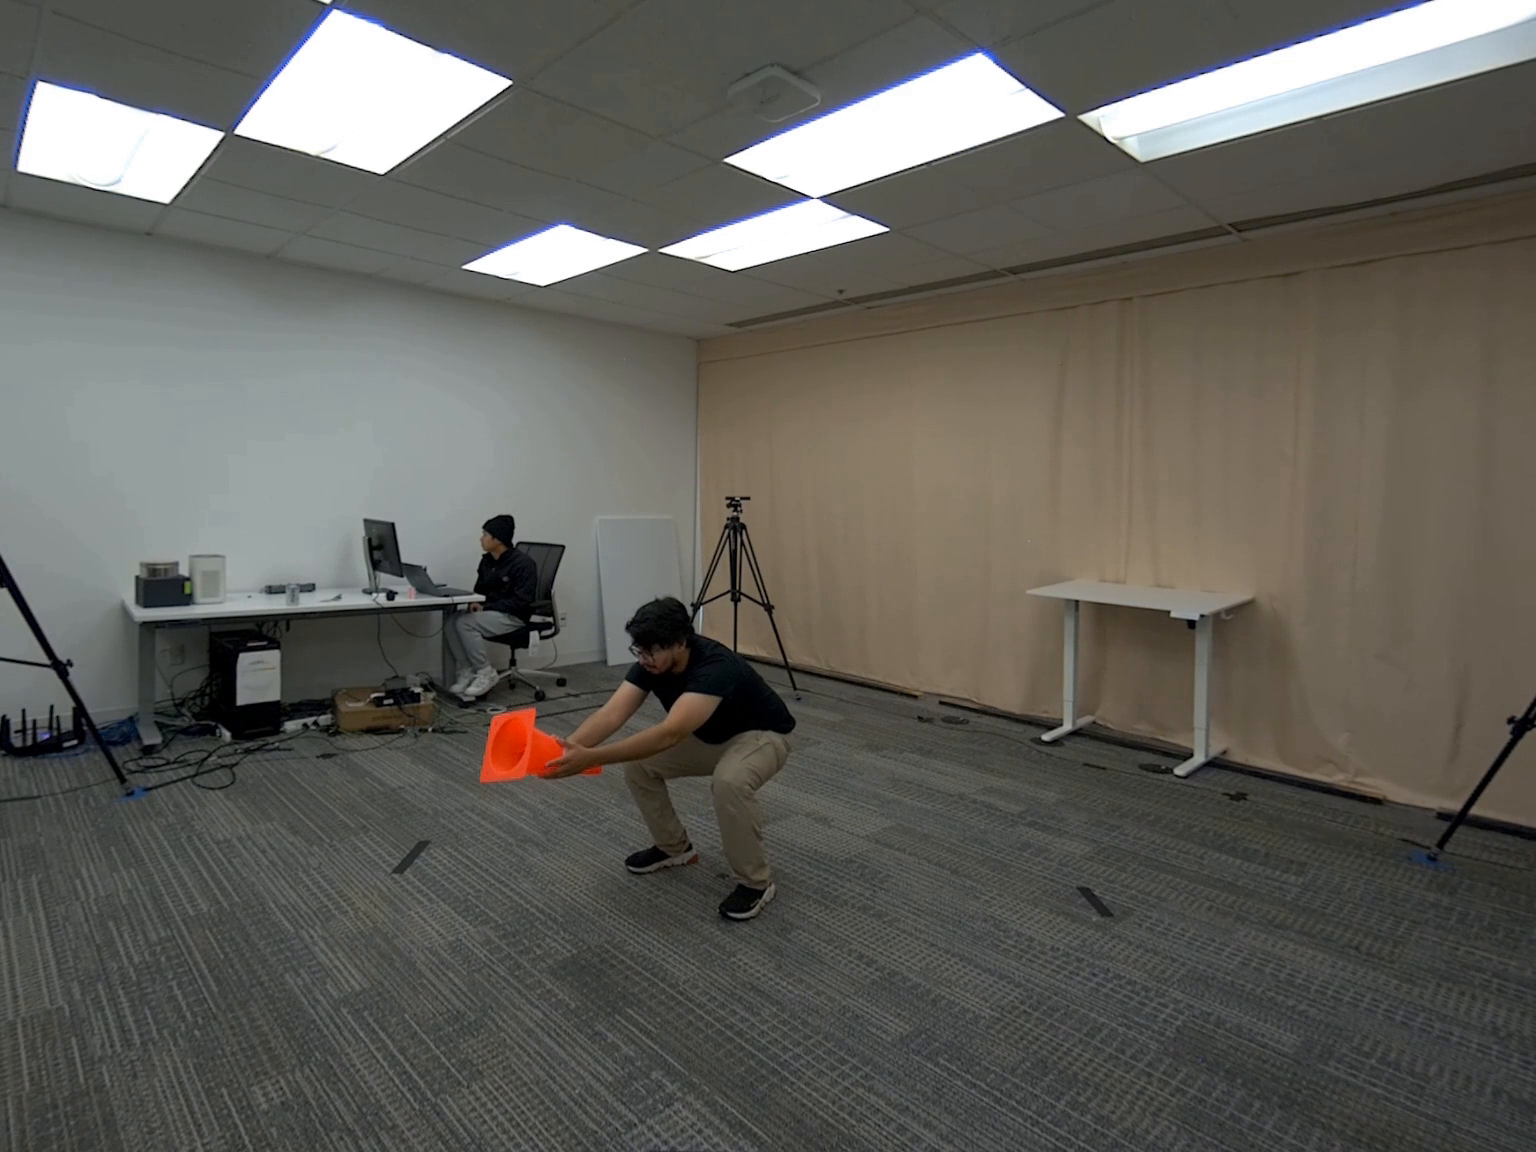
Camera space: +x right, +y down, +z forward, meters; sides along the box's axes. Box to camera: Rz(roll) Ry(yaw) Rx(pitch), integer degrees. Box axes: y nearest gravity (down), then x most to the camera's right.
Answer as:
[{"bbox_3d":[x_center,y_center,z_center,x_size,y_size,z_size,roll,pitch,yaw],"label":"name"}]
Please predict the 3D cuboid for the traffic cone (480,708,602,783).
[{"bbox_3d":[-0.652,0.556,2.557,0.208,0.207,0.372,-18,-29,32],"label":"traffic cone"}]
